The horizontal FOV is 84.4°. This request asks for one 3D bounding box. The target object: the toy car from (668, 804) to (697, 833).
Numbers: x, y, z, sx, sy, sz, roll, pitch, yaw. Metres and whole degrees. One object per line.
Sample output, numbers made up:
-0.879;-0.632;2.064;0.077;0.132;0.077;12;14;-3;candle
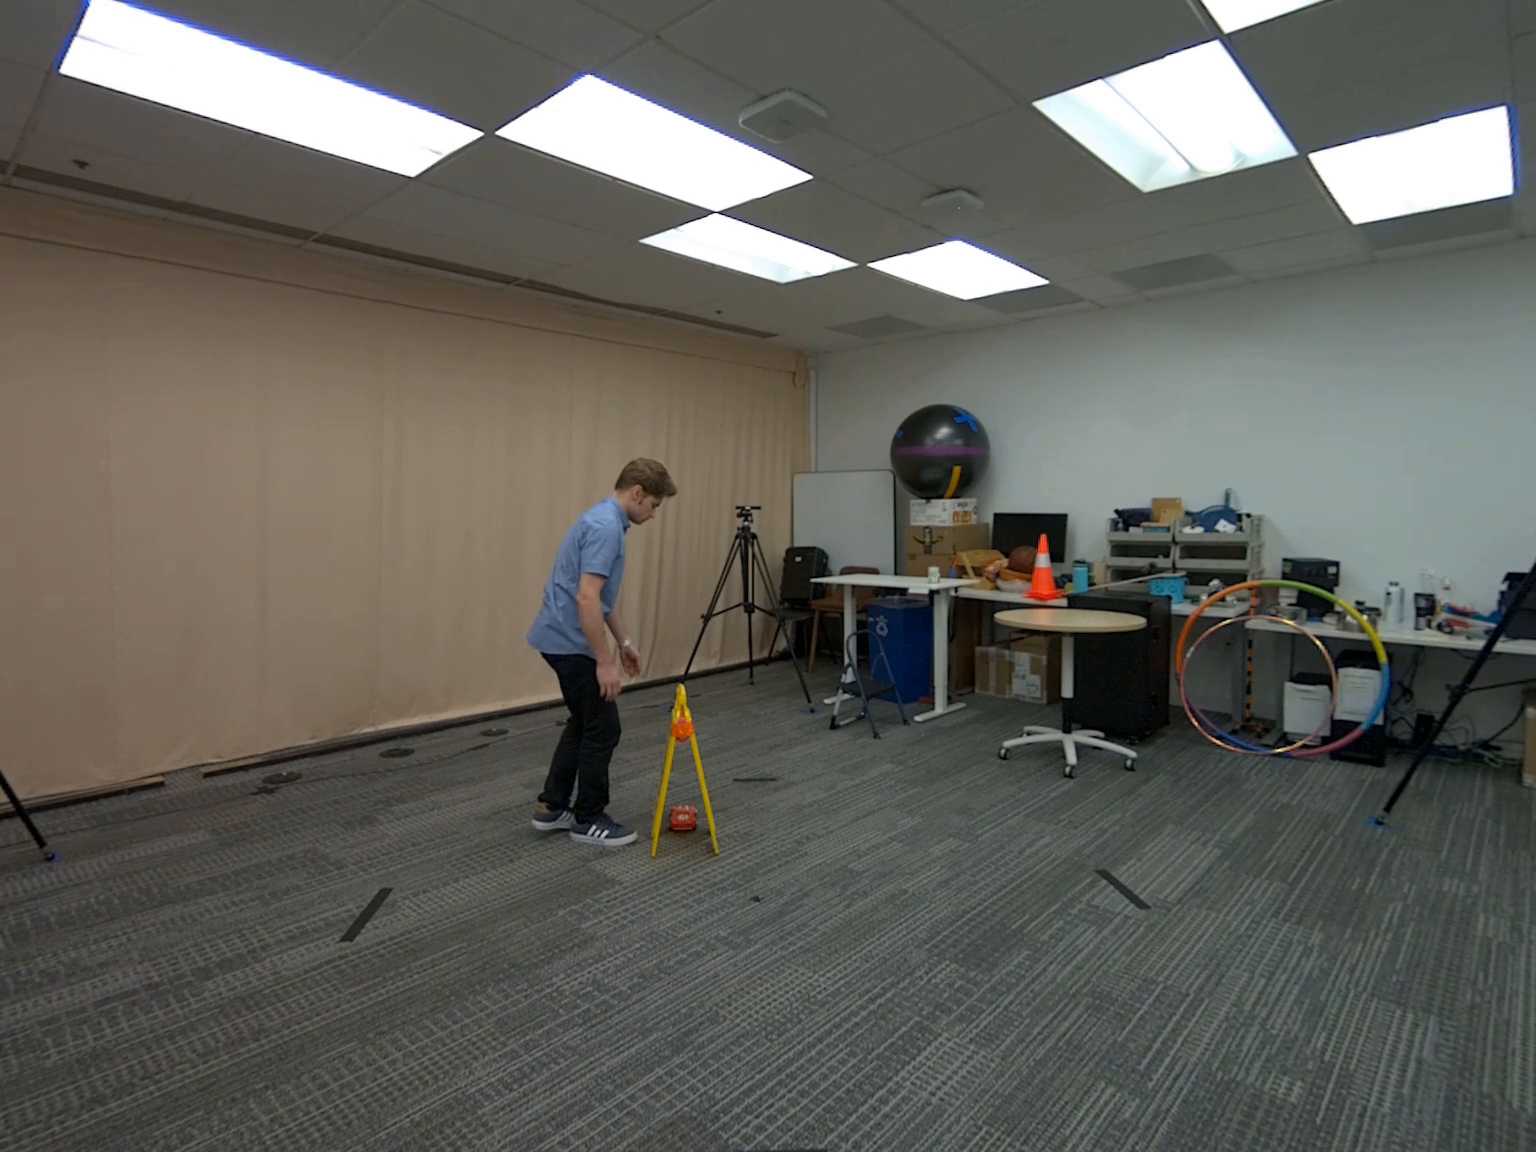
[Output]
-0.379;1.061;3.680;0.130;0.083;0.254;1;-6;-3;toy car
